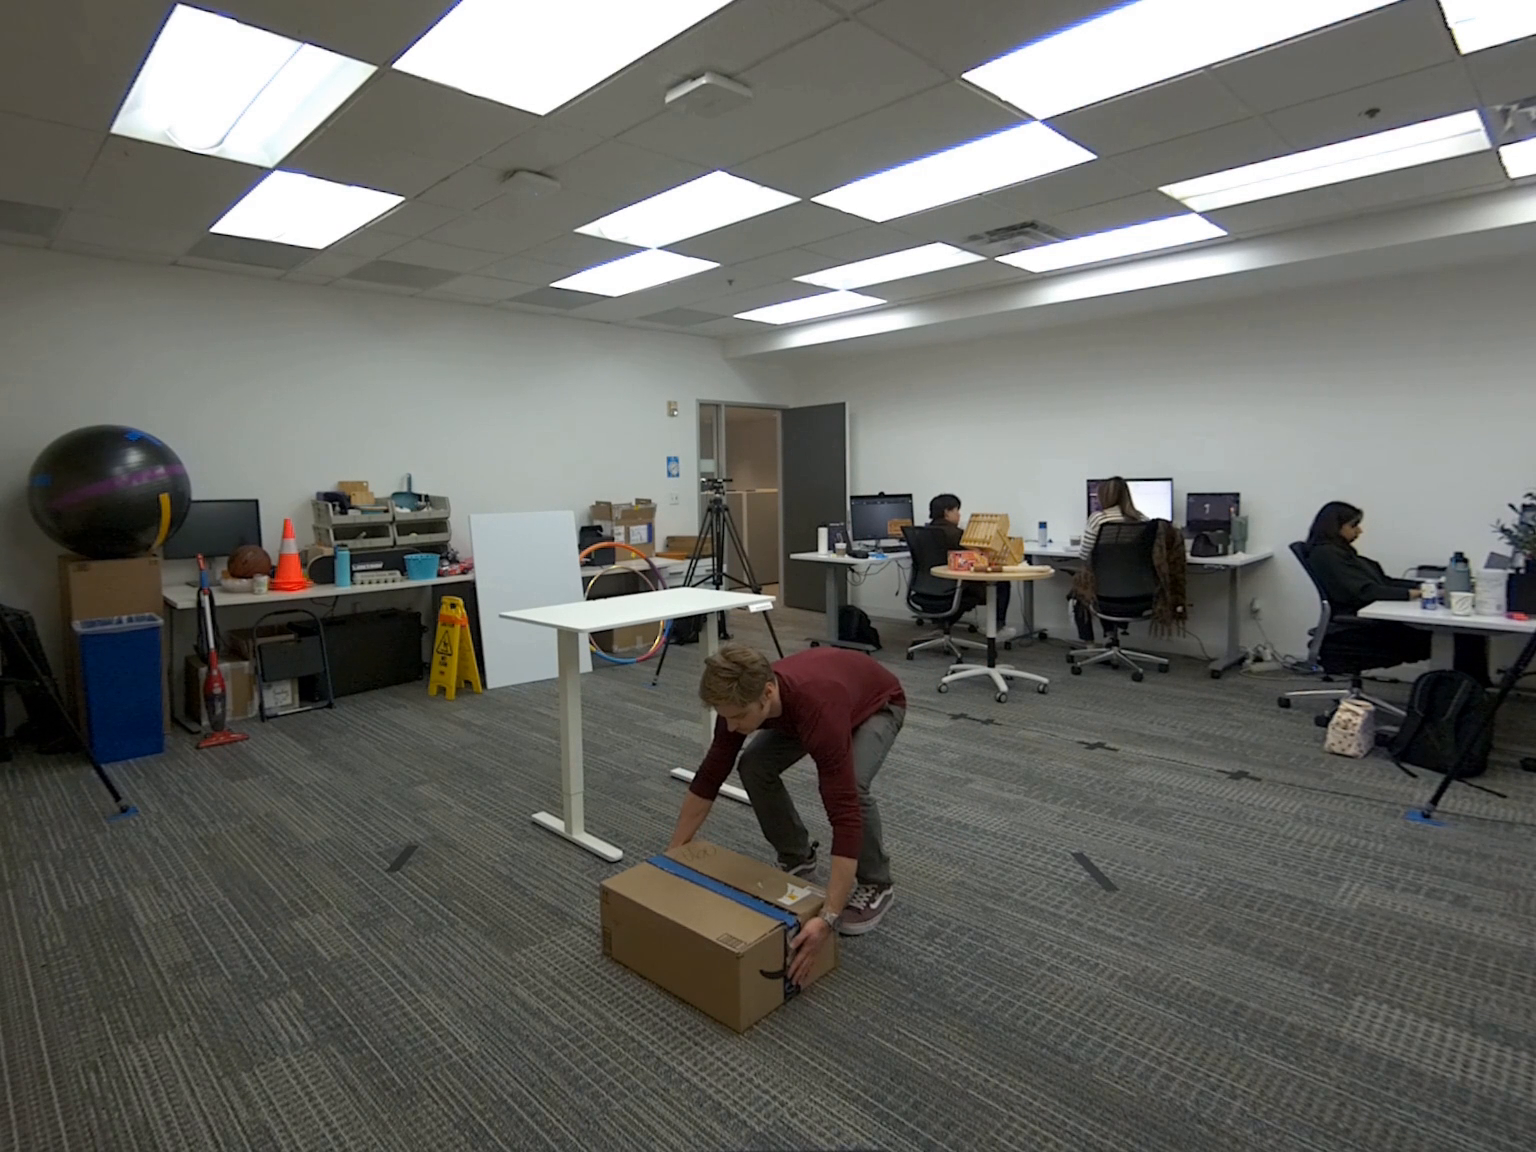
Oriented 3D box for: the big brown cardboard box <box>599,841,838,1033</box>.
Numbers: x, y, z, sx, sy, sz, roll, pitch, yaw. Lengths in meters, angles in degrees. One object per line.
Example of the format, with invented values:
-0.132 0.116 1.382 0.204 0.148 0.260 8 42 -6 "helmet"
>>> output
-0.142 1.008 2.482 0.607 0.232 0.407 4 9 42 "big brown cardboard box"
